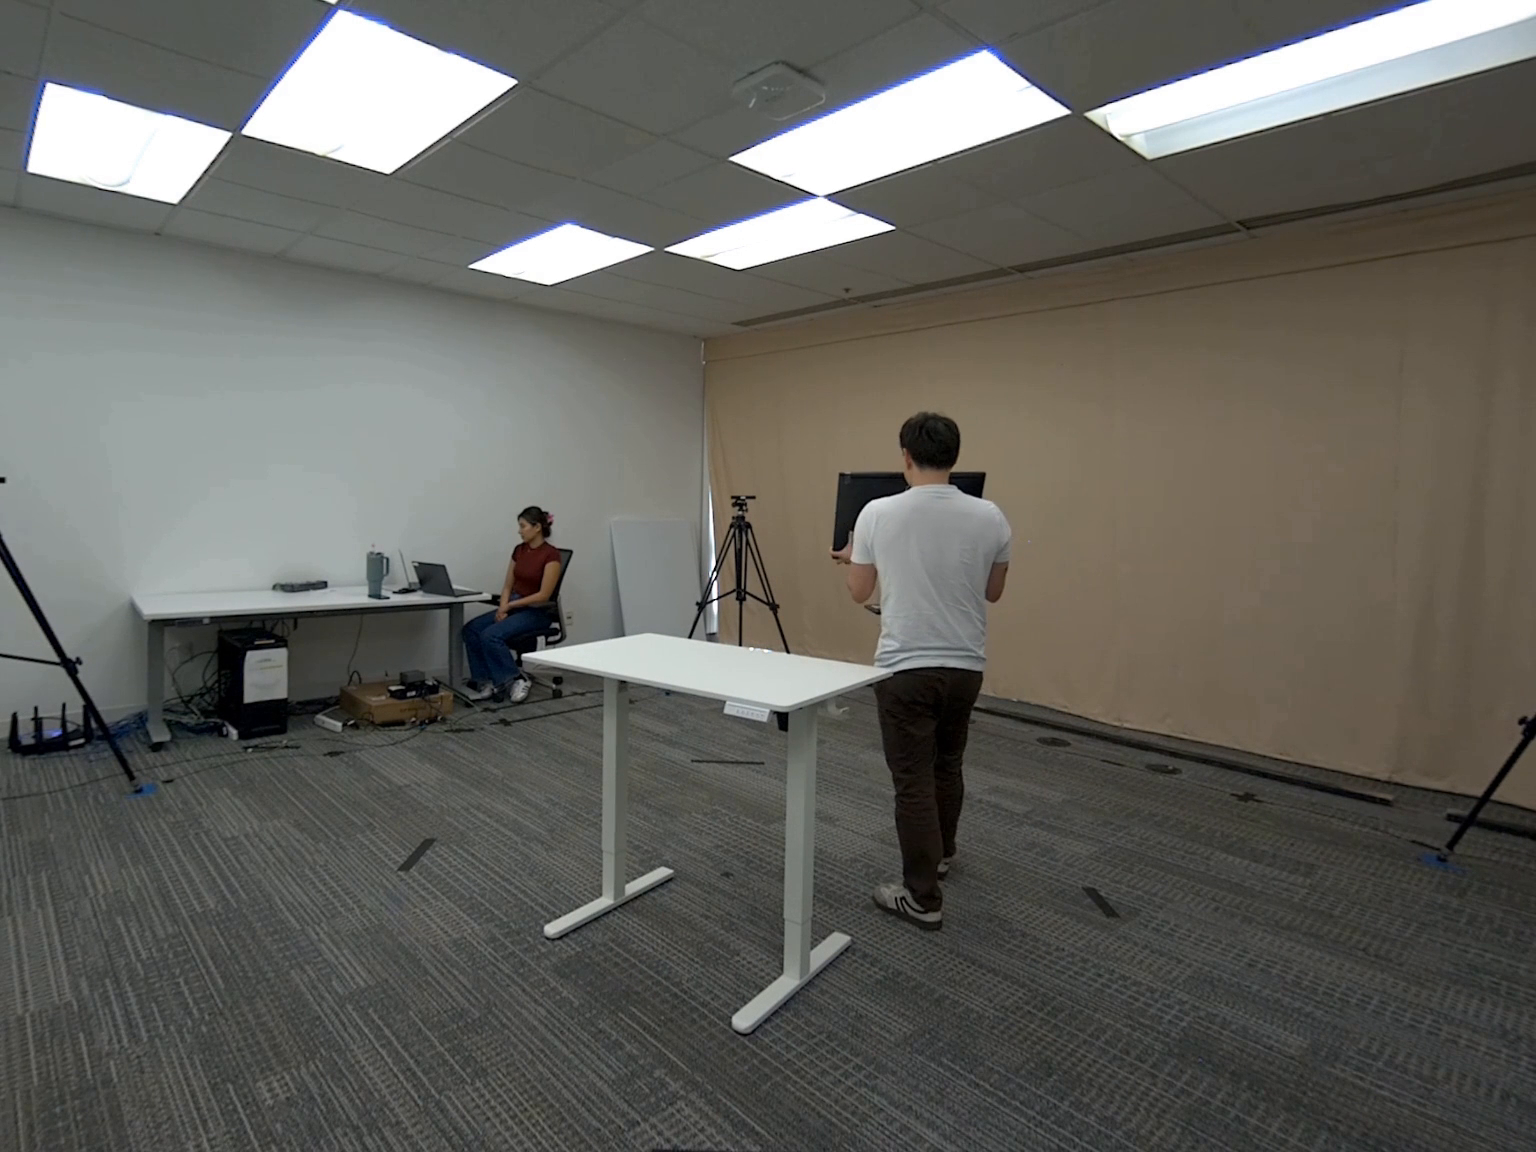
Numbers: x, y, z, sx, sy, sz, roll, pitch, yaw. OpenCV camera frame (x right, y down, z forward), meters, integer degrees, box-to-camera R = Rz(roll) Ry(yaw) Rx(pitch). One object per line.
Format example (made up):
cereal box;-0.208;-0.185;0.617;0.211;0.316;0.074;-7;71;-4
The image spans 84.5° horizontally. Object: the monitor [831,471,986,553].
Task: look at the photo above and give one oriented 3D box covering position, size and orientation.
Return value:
monitor;0.515;-0.121;3.091;0.537;0.518;0.189;-1;12;-5
